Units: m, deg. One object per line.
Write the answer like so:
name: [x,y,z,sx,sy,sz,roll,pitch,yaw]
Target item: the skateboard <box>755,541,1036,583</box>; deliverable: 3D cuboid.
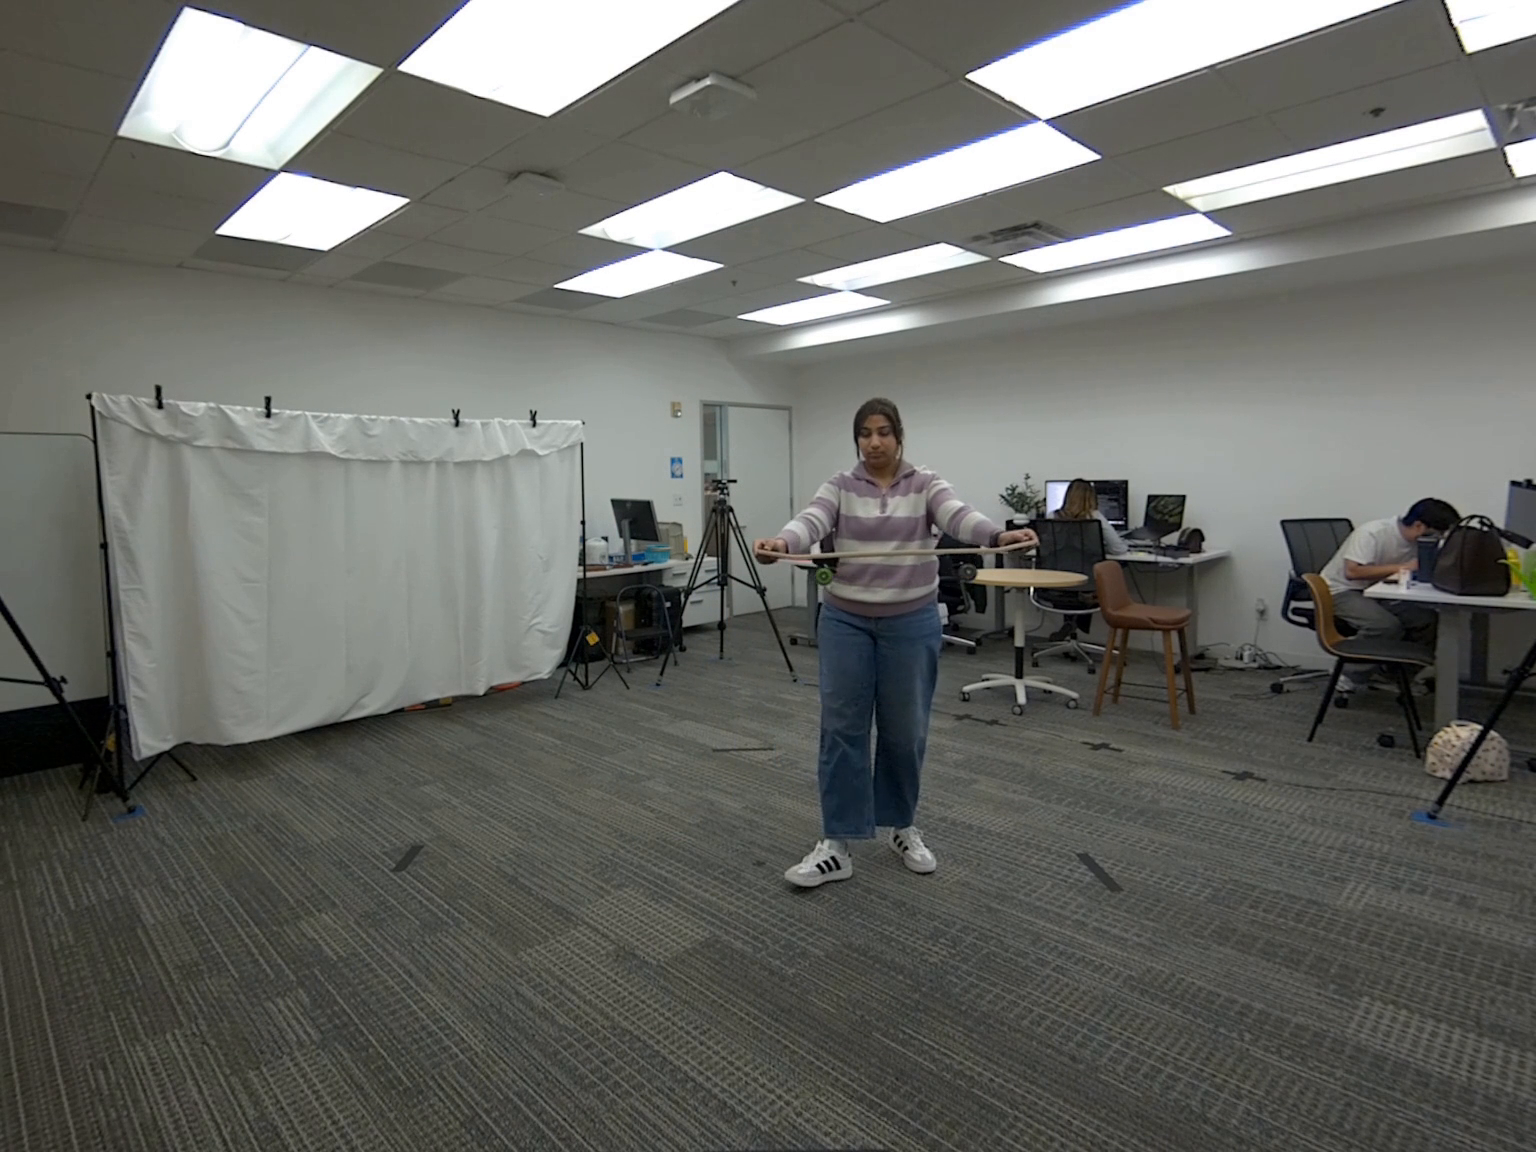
skateboard: [0.372,-0.034,2.499,0.790,0.110,0.192,-2,0,6]
